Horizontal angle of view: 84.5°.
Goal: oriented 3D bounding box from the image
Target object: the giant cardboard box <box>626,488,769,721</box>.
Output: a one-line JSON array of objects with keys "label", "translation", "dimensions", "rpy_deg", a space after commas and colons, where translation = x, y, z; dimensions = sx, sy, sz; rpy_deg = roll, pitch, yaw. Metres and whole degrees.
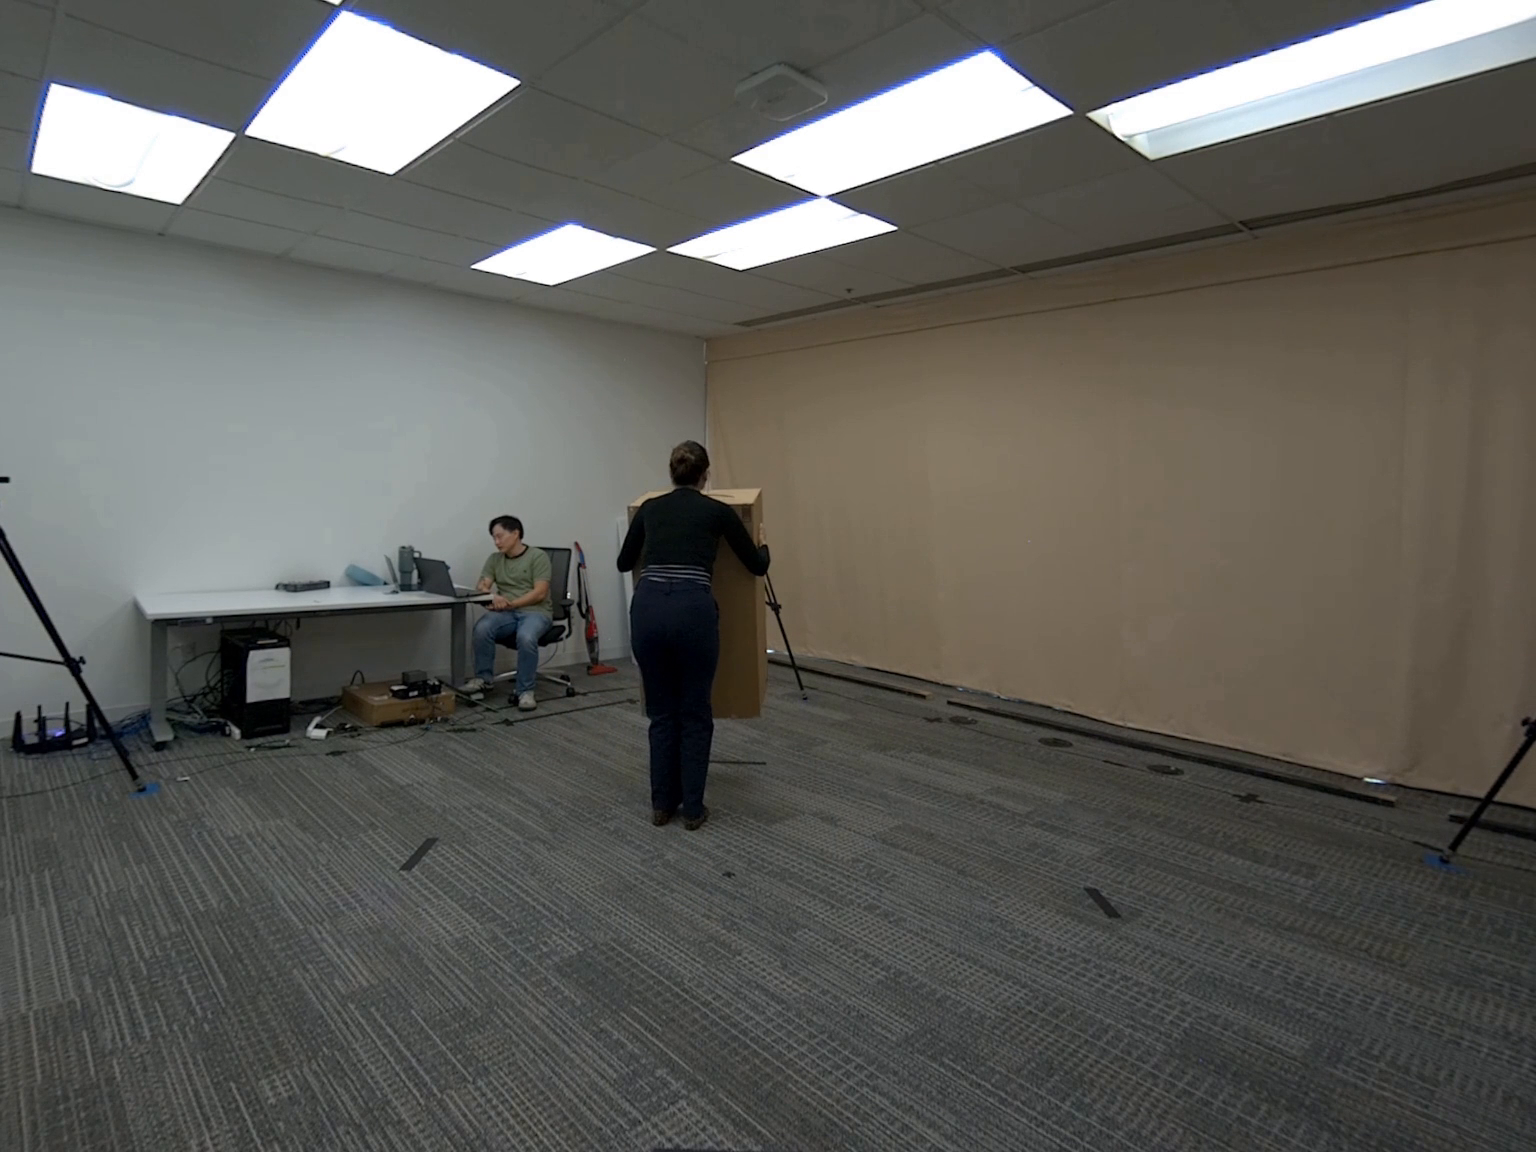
[{"label": "giant cardboard box", "translation": [-0.325, 0.126, 4.056], "dimensions": [0.581, 1.015, 0.428], "rpy_deg": [0, 13, 7]}]
